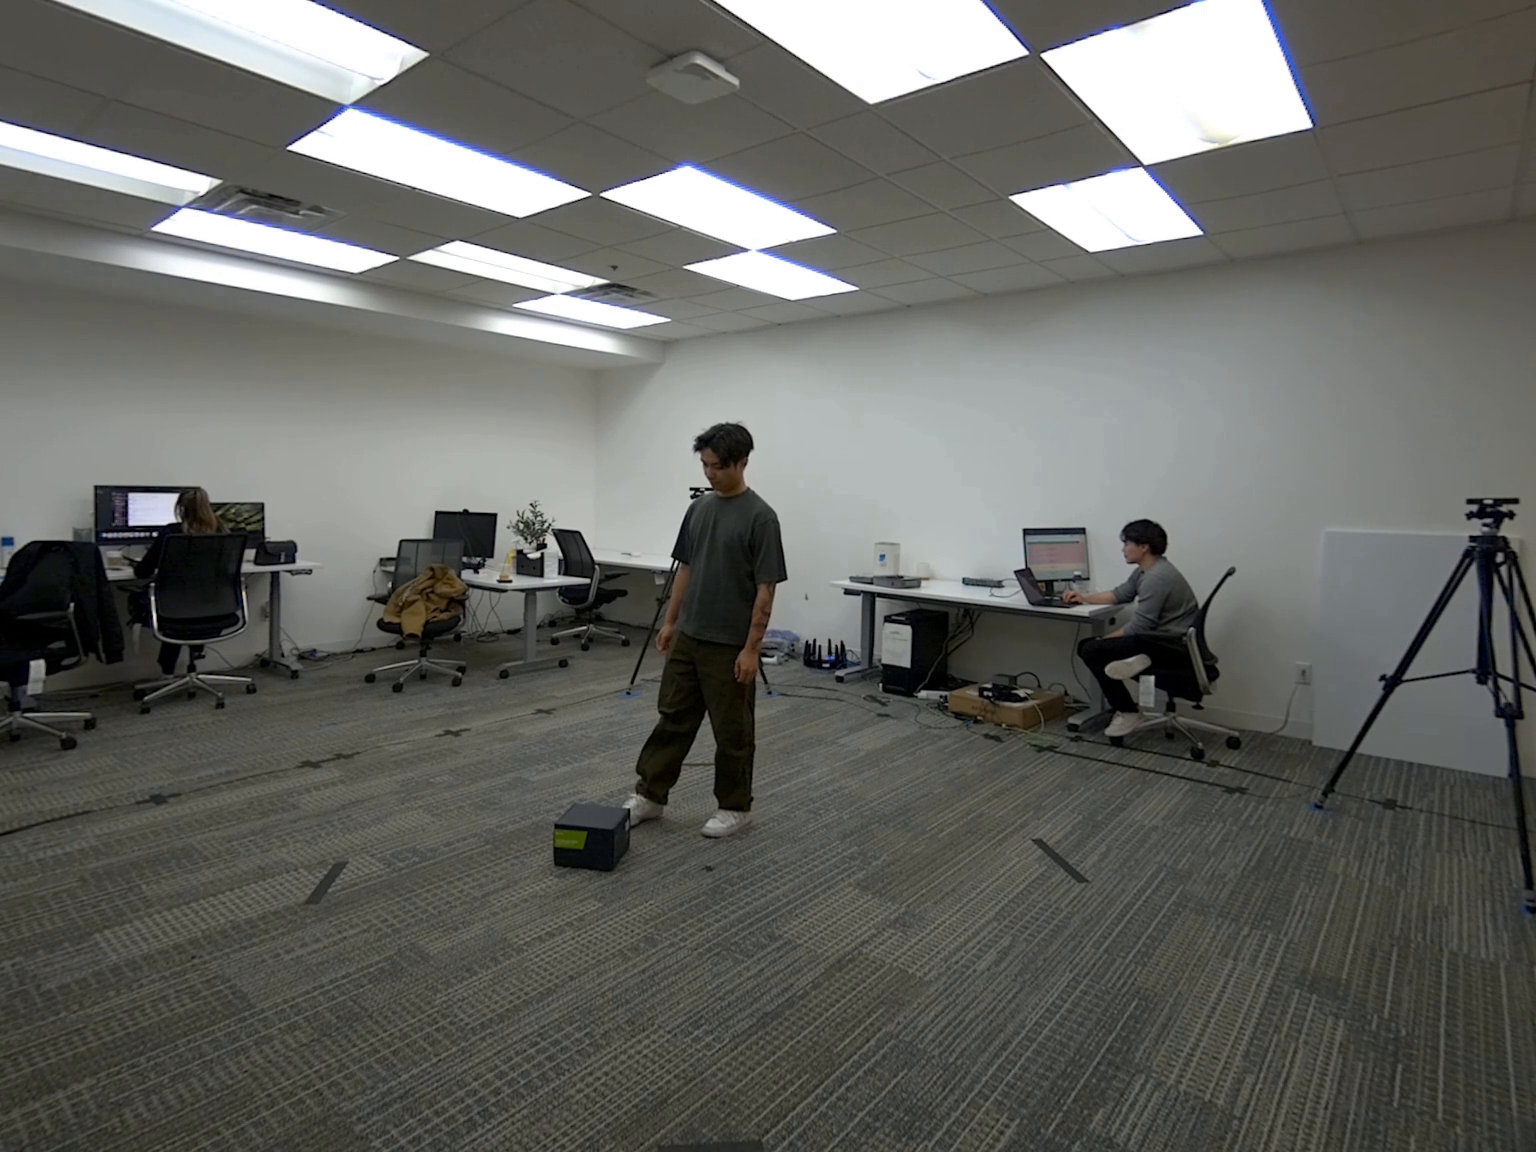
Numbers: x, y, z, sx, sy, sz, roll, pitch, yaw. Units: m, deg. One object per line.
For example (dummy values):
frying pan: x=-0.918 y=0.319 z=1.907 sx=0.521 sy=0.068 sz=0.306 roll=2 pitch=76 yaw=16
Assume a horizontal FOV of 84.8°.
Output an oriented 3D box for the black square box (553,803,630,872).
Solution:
black square box: x=-0.669 y=0.964 z=3.181 sx=0.230 sy=0.155 sz=0.215 roll=2 pitch=4 yaw=9
